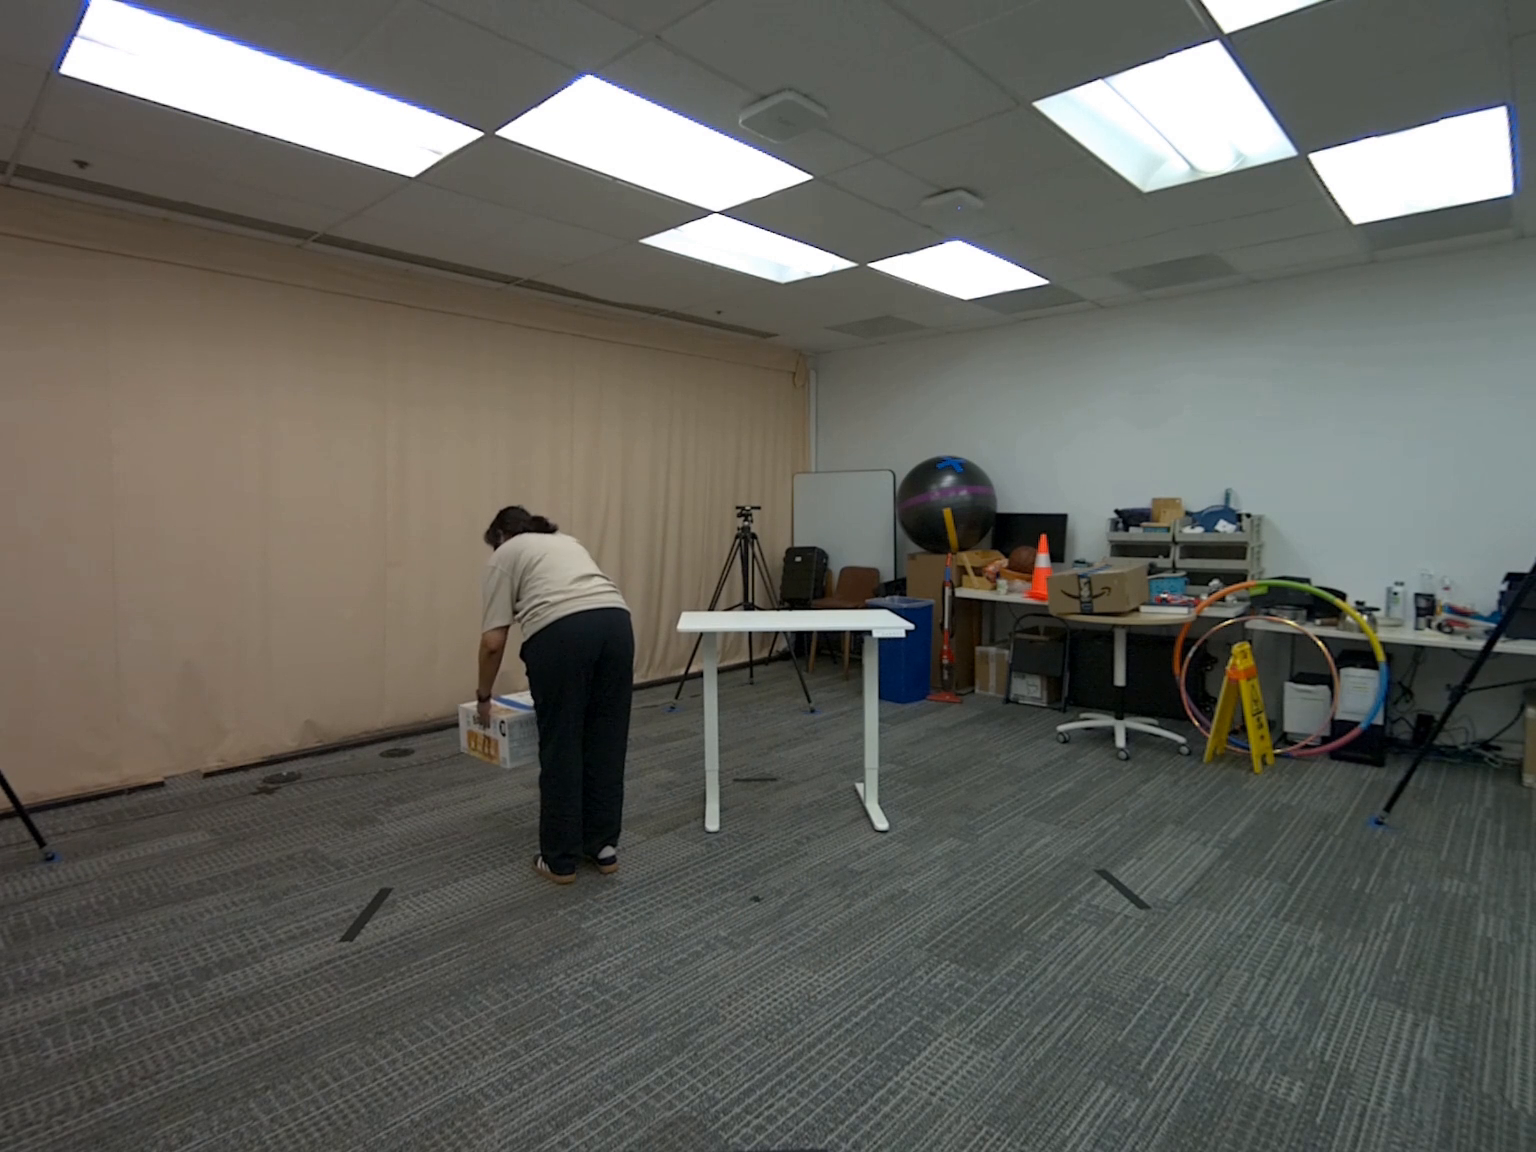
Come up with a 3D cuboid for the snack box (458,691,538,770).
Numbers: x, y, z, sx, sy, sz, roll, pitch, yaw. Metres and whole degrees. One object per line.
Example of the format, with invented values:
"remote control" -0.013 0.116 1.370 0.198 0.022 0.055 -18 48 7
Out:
"snack box" -1.035 0.628 3.512 0.330 0.205 0.418 -6 5 -44
